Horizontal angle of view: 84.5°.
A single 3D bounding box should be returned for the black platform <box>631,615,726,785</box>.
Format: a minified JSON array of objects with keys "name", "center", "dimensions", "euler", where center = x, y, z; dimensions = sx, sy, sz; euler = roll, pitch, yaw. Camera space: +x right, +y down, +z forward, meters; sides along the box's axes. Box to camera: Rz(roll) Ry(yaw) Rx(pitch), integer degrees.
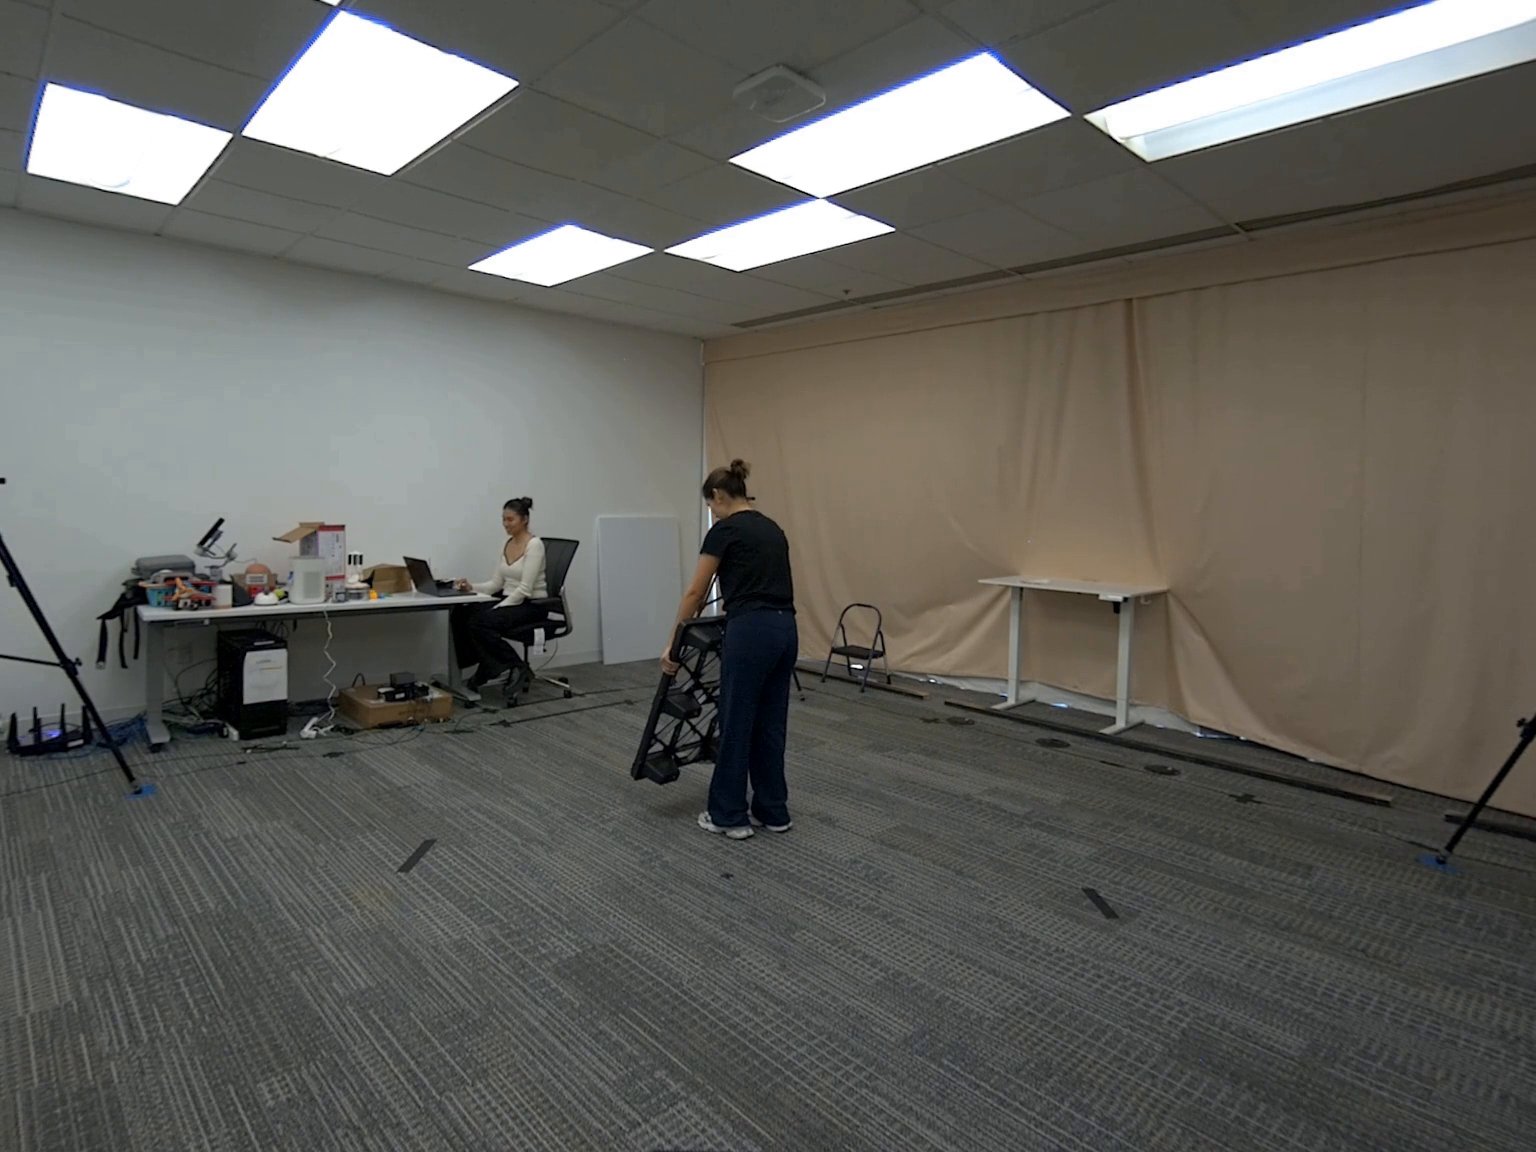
[{"name":"black platform","center":[-0.254,0.541,3.722],"dimensions":[0.592,0.798,0.148],"euler":[-5,30,-47]}]
